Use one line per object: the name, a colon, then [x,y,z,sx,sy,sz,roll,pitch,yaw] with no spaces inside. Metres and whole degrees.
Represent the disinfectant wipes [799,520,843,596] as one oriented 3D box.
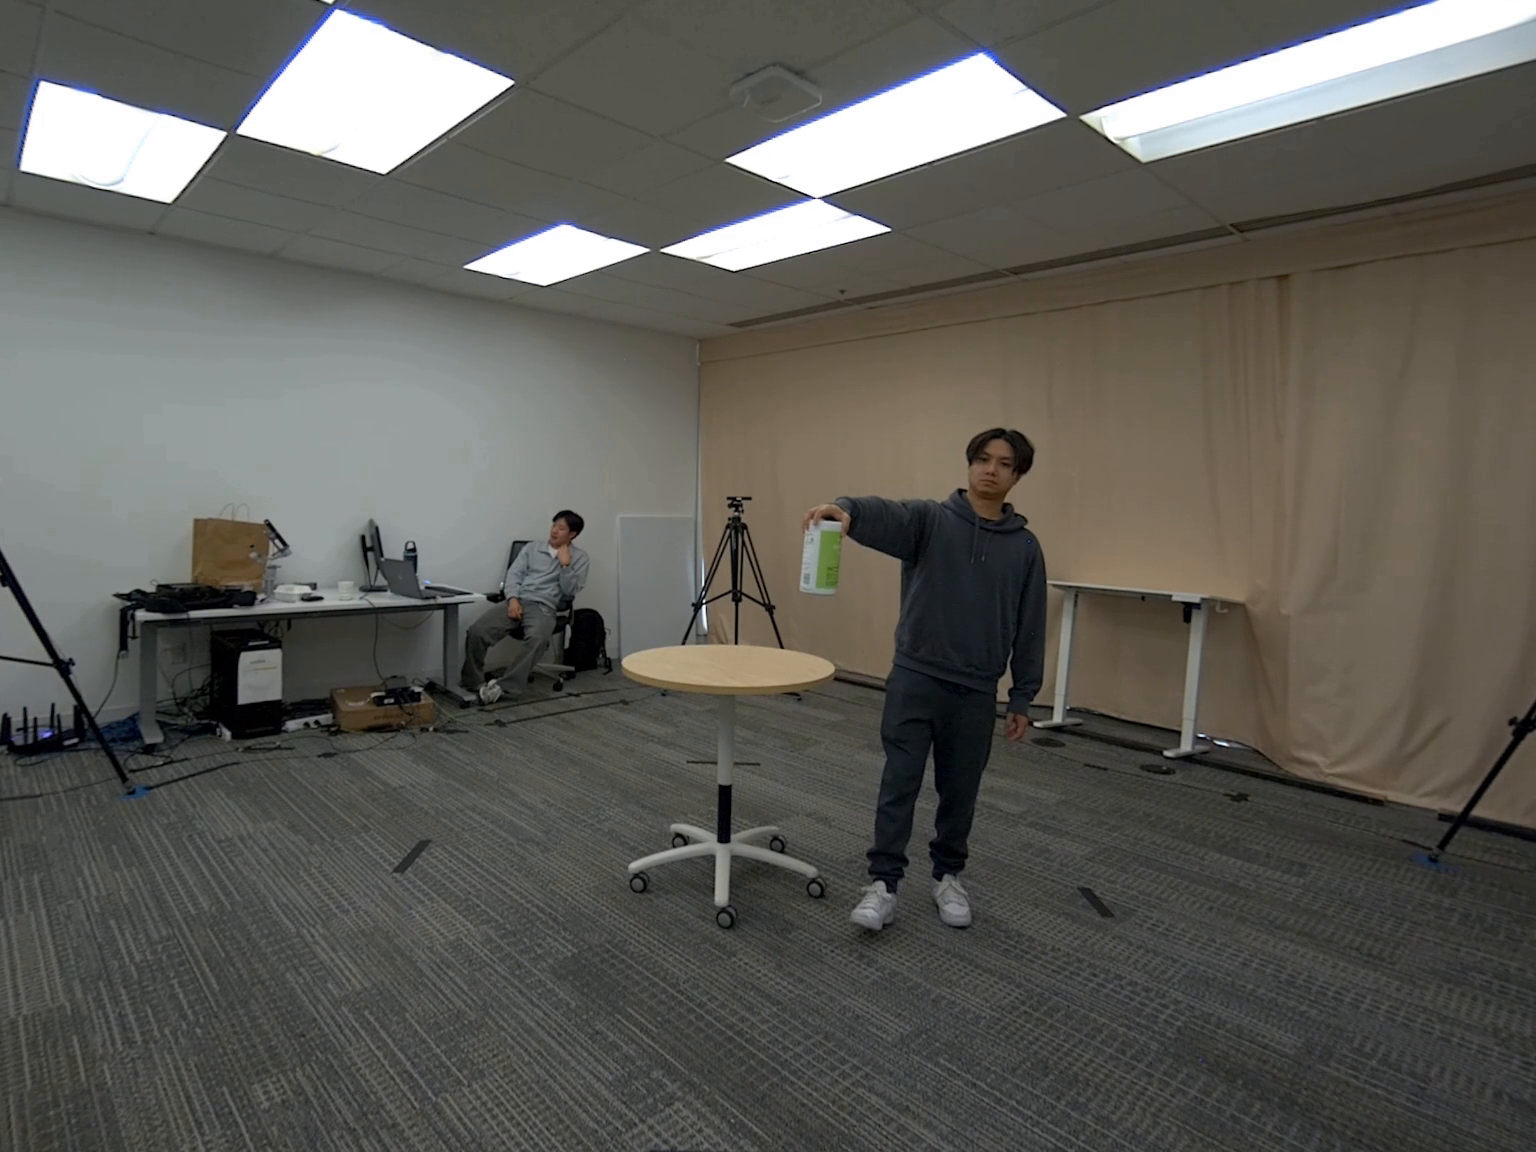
disinfectant wipes: [0.145,-0.054,2.451,0.118,0.217,0.118,1,5,-1]
